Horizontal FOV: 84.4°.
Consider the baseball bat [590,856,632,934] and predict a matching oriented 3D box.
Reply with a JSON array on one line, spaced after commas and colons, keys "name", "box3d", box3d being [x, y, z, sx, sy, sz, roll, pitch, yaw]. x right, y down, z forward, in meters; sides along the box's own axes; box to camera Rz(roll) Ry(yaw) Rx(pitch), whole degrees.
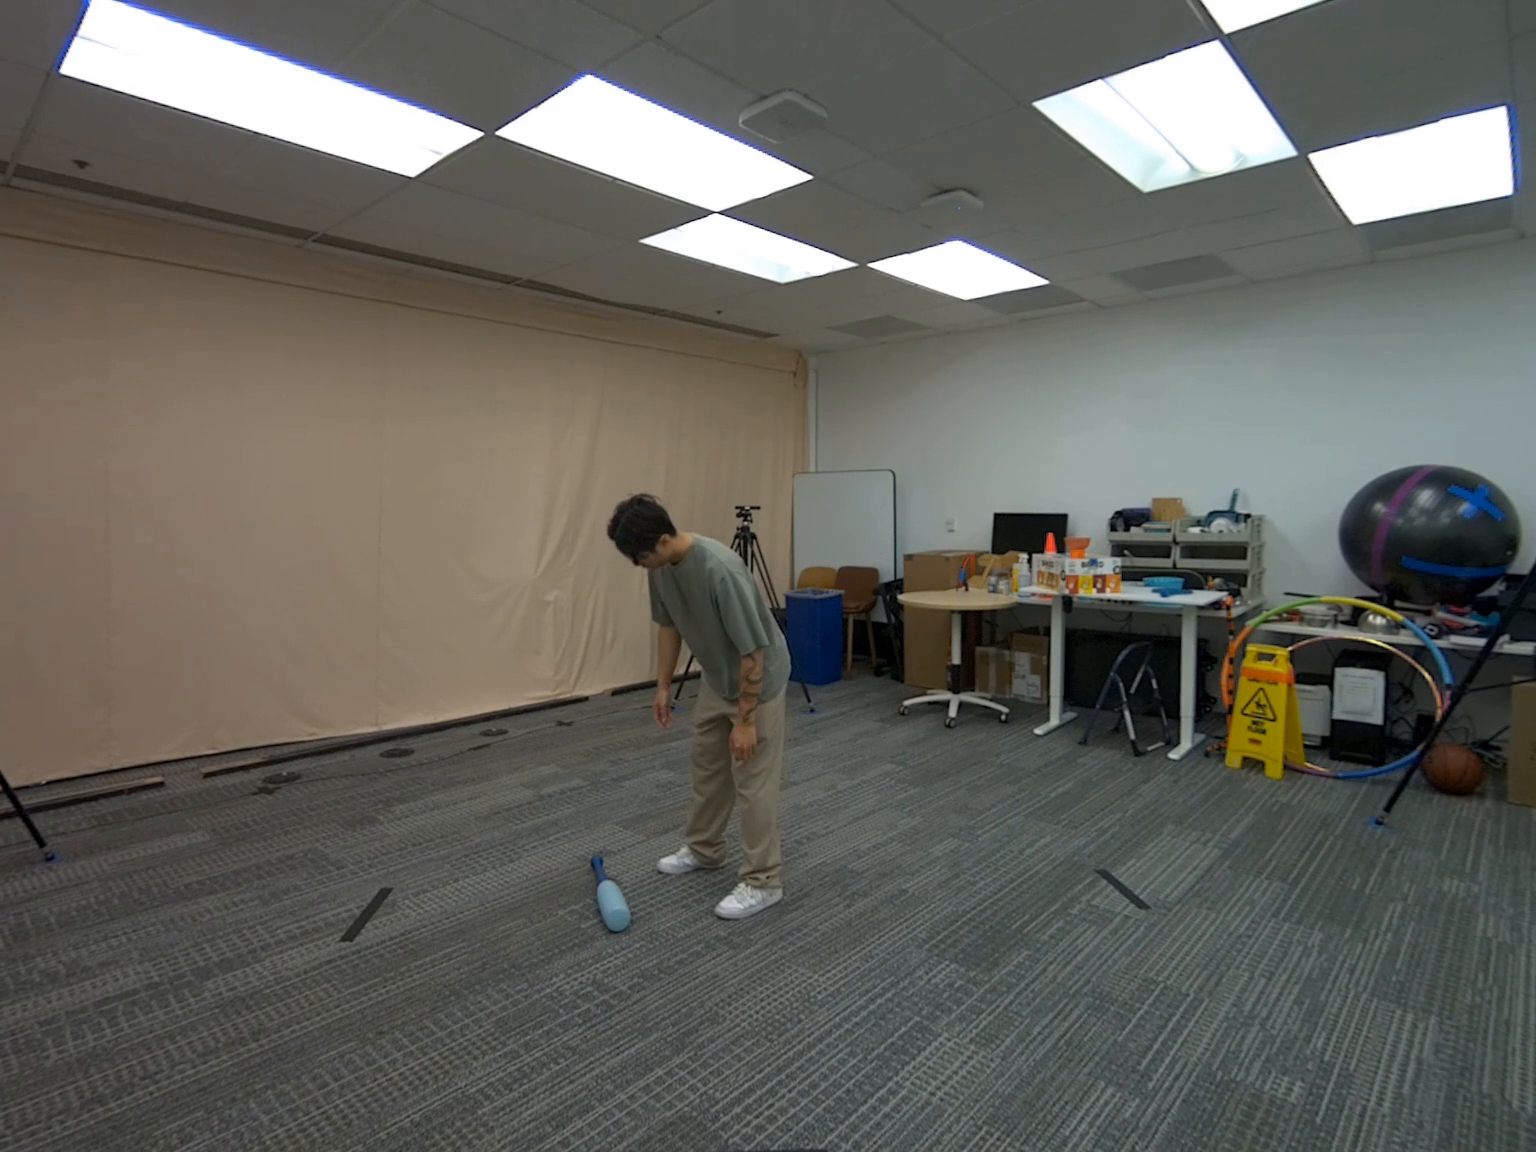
[{"name": "baseball bat", "box3d": [-0.574, 1.111, 2.992, 0.087, 0.089, 0.553, -1, 3, -19]}]
